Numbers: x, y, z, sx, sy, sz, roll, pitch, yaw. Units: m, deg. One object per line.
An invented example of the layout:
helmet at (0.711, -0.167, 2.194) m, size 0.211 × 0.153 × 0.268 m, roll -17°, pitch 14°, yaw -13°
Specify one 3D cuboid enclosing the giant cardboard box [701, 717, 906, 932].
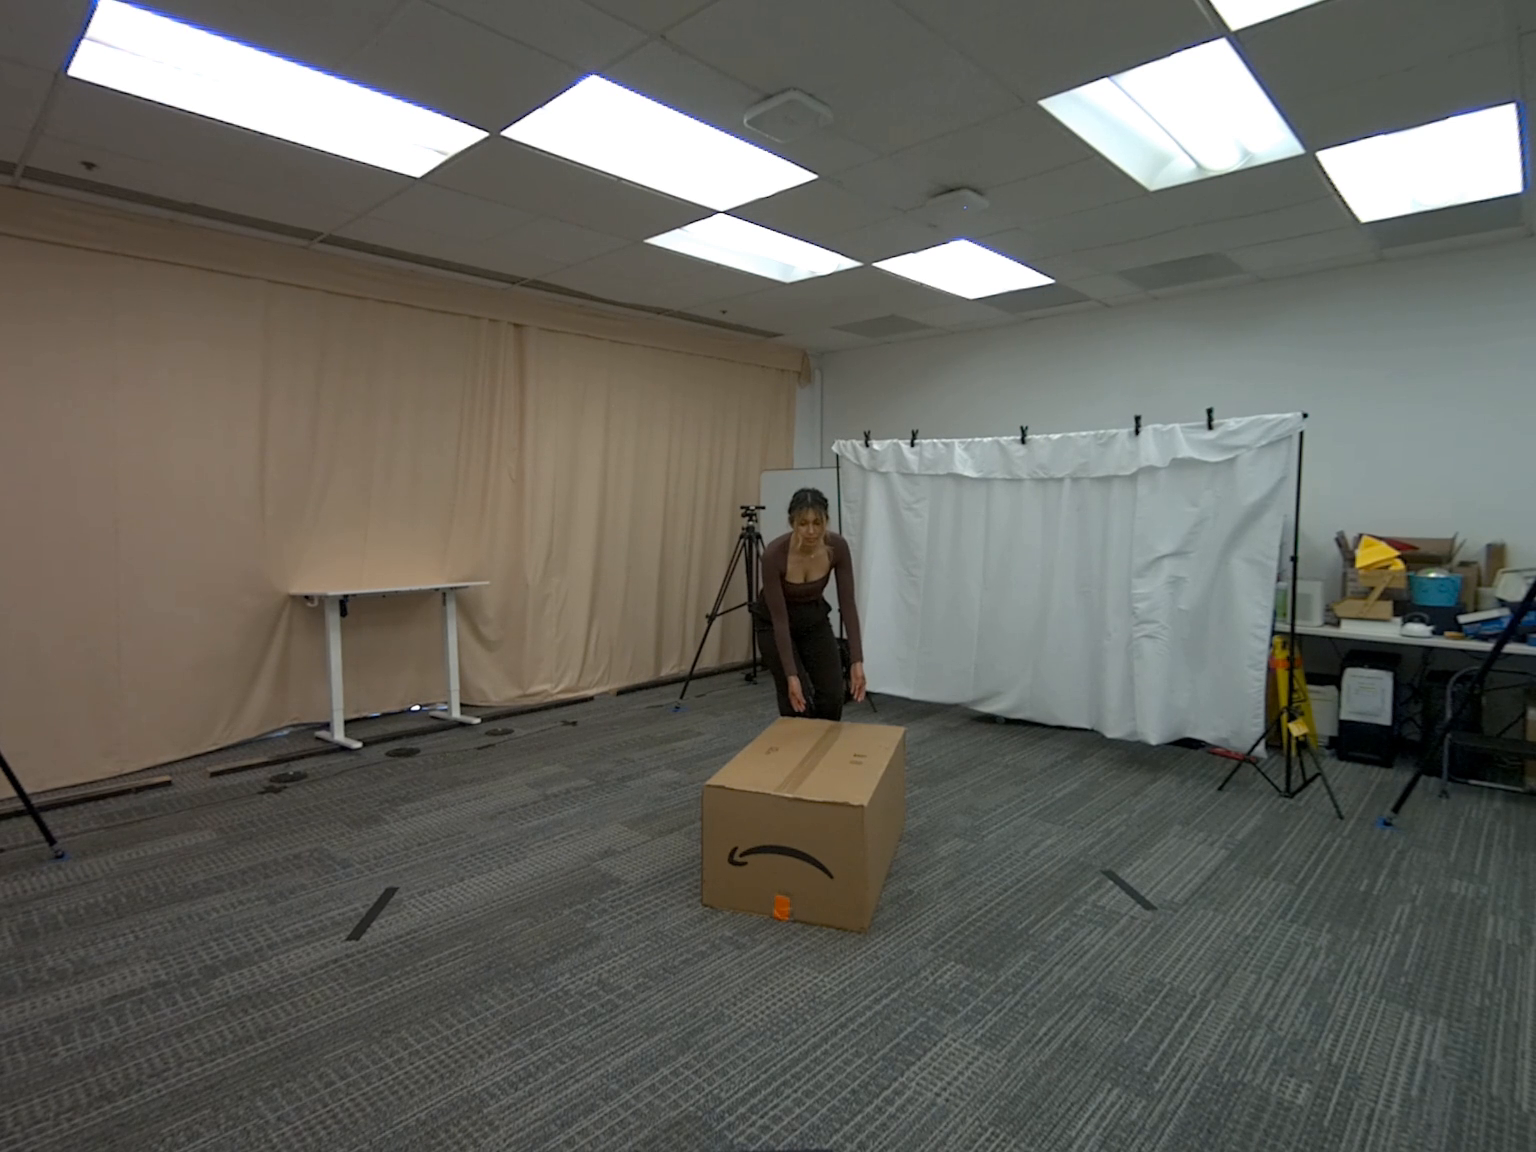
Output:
giant cardboard box at (0.186, 0.903, 3.300) m, size 0.595 × 0.446 × 1.009 m, roll 0°, pitch 4°, yaw 18°
